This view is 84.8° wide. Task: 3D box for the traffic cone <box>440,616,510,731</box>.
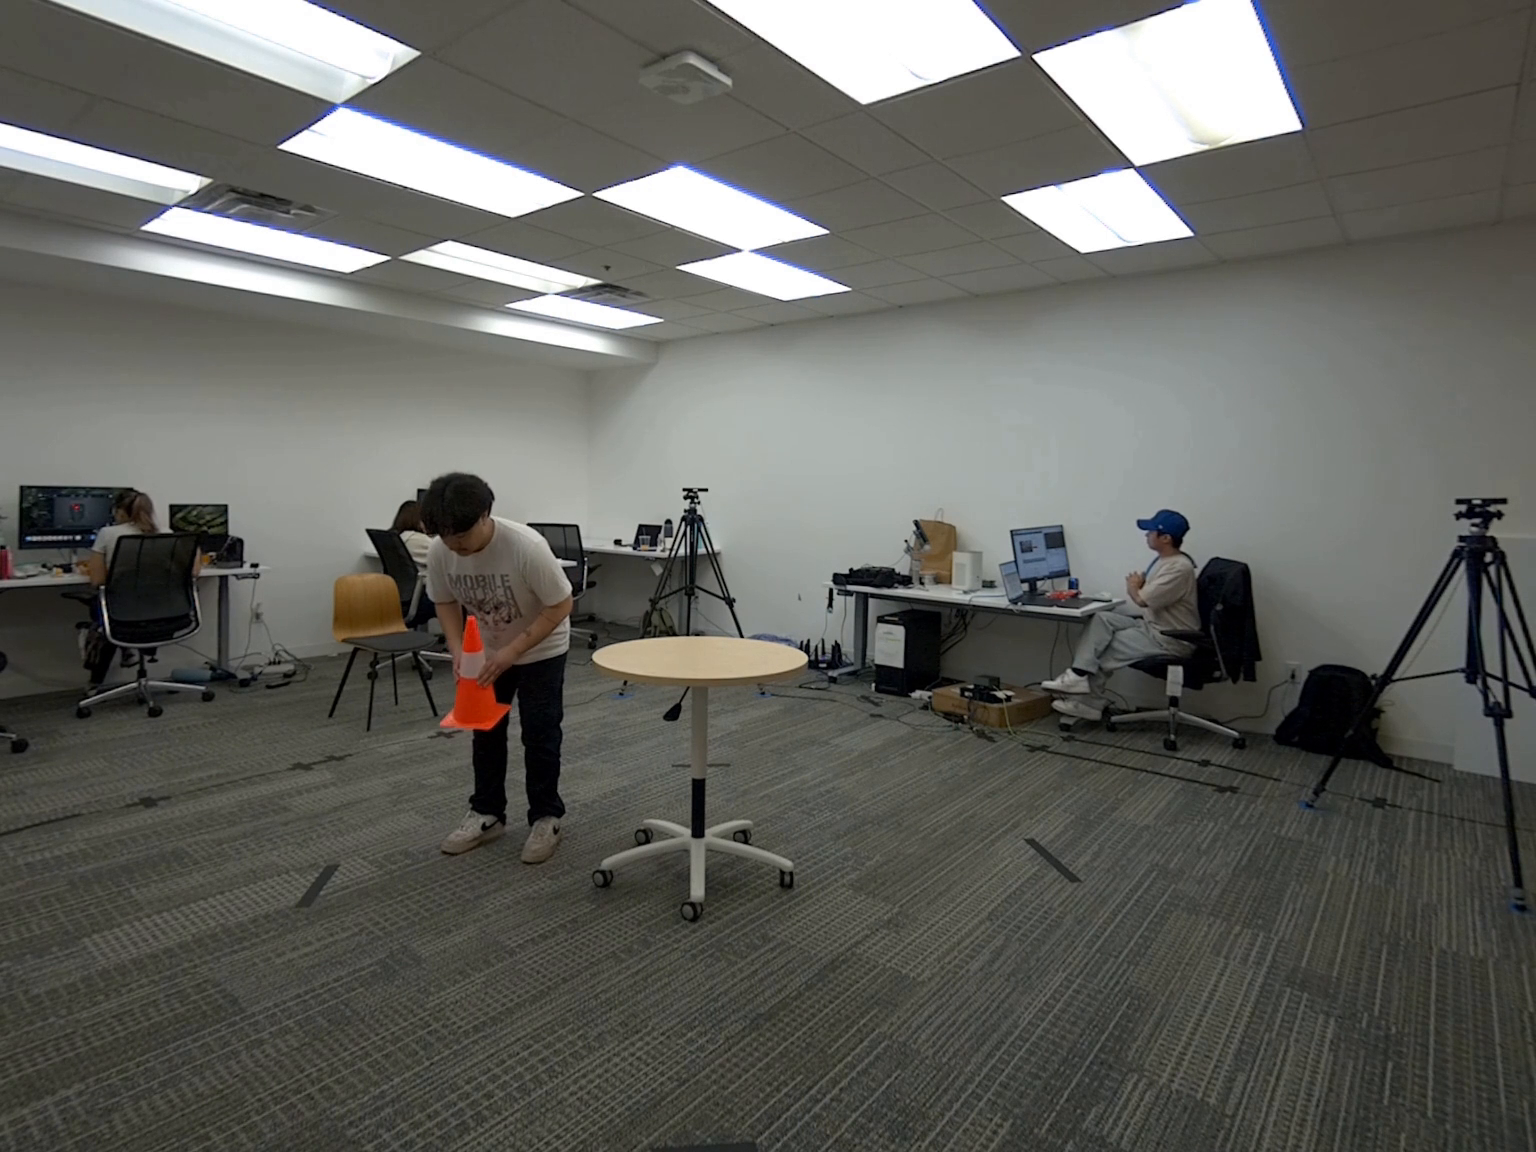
[{"bbox_3d":[-1.076,0.319,3.039,0.206,0.377,0.205,4,18,11],"label":"traffic cone"}]
